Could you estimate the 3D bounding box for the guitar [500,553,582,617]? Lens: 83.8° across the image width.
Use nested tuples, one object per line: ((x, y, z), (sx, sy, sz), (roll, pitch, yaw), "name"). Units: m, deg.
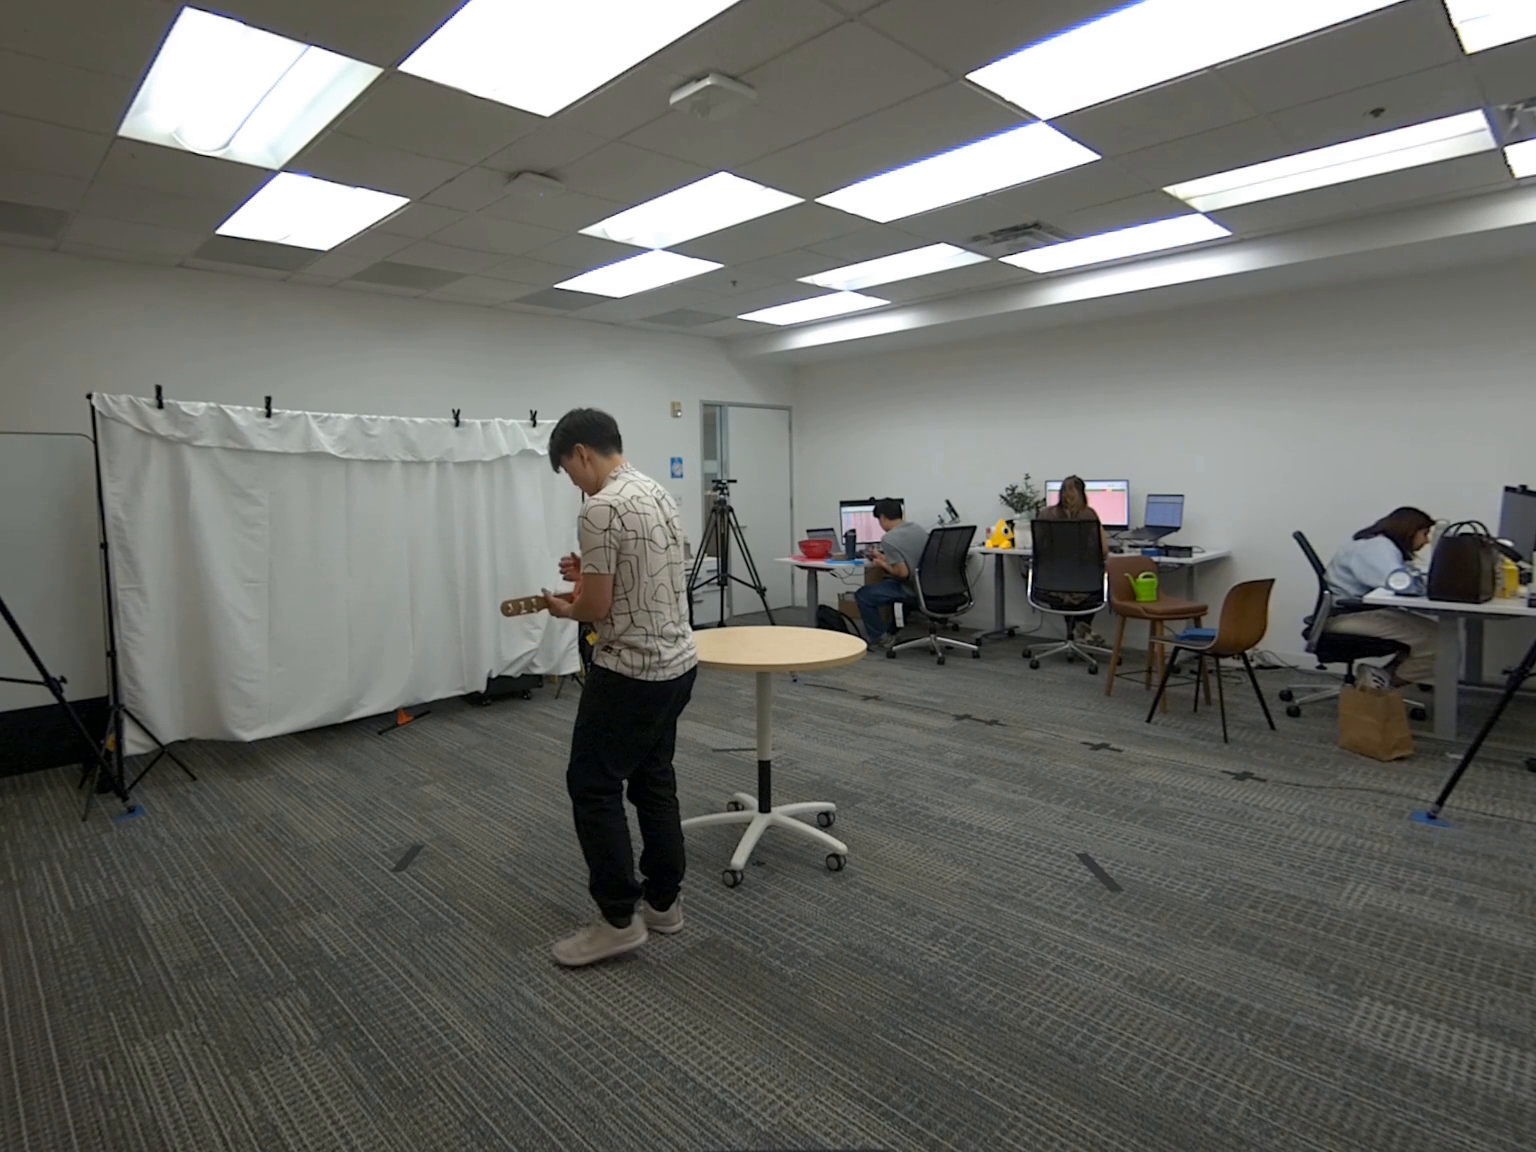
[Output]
((-0.590, 0.097, 2.748), (0.492, 0.190, 0.072), (-18, 13, -18), "guitar")
